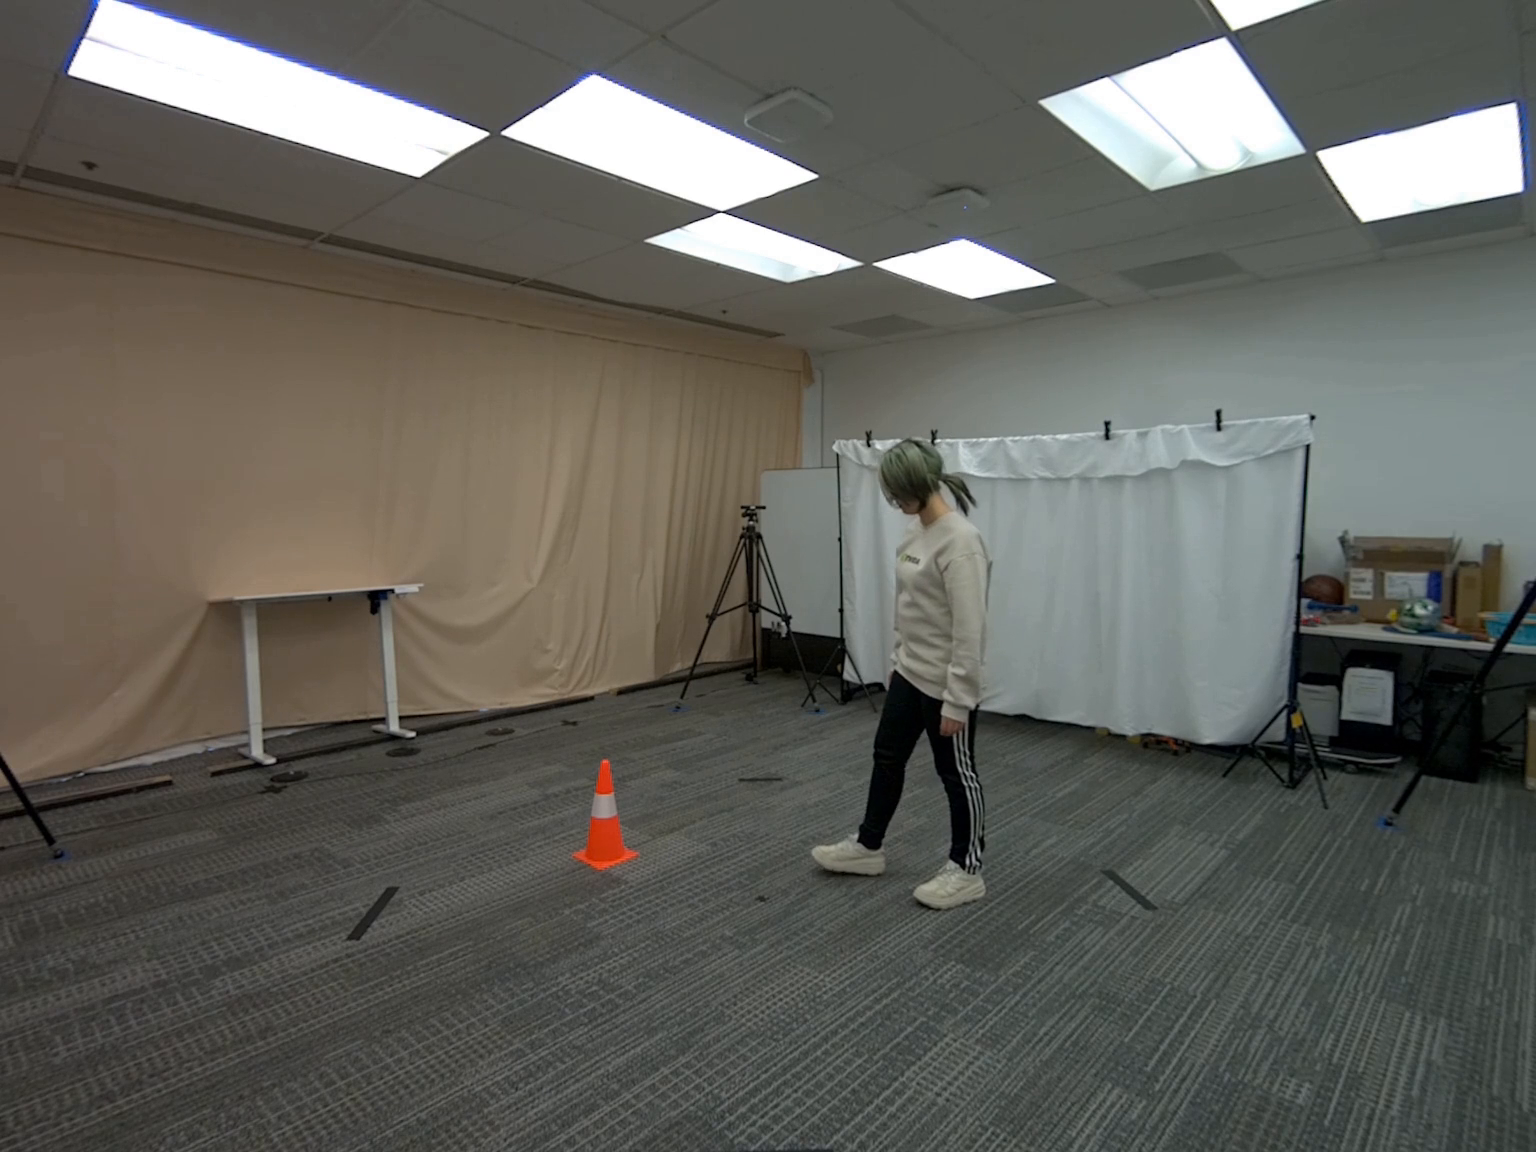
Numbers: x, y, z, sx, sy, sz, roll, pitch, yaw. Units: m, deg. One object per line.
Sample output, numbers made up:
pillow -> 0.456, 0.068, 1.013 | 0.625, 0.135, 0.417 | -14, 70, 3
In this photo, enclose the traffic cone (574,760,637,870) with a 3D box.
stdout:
traffic cone -> -0.650, 0.932, 3.368 | 0.198, 0.383, 0.210 | -2, 4, -44
